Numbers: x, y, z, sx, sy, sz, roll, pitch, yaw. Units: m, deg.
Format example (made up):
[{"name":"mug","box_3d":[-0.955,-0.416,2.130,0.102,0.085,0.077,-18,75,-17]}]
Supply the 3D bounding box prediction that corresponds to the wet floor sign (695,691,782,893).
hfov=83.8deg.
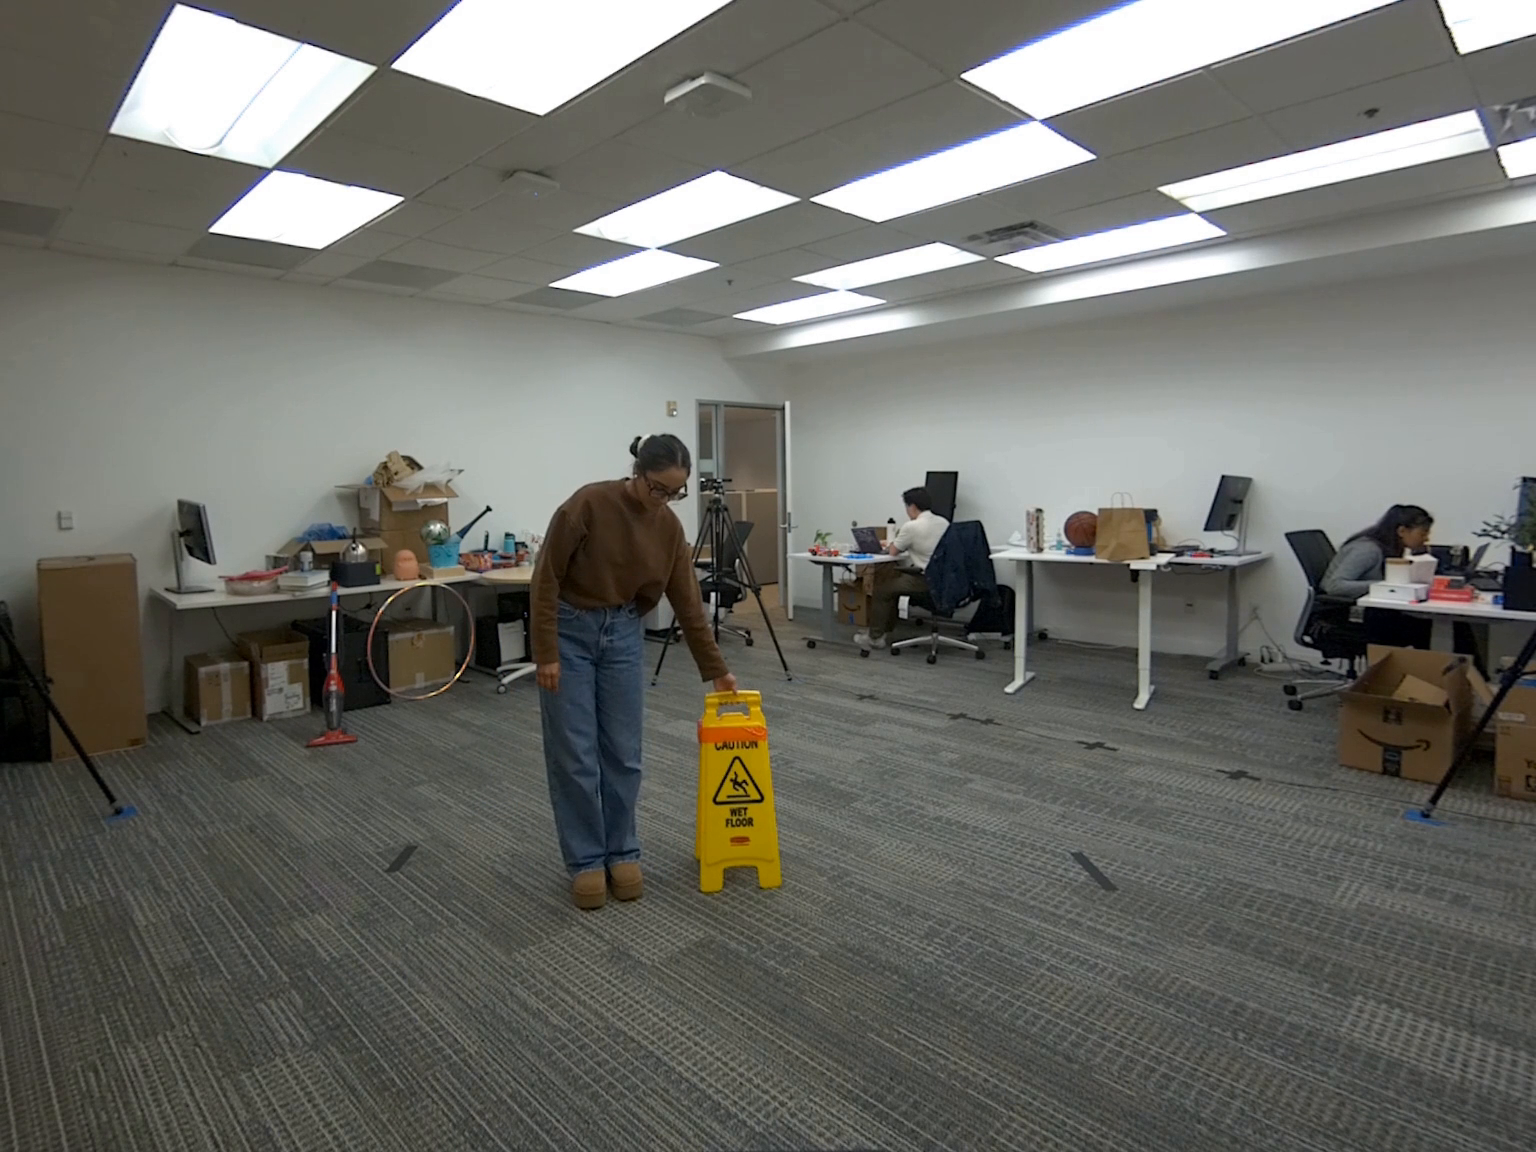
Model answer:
[{"name":"wet floor sign","box_3d":[-0.112,0.722,3.010,0.280,0.643,0.293,-1,5,-7]}]
